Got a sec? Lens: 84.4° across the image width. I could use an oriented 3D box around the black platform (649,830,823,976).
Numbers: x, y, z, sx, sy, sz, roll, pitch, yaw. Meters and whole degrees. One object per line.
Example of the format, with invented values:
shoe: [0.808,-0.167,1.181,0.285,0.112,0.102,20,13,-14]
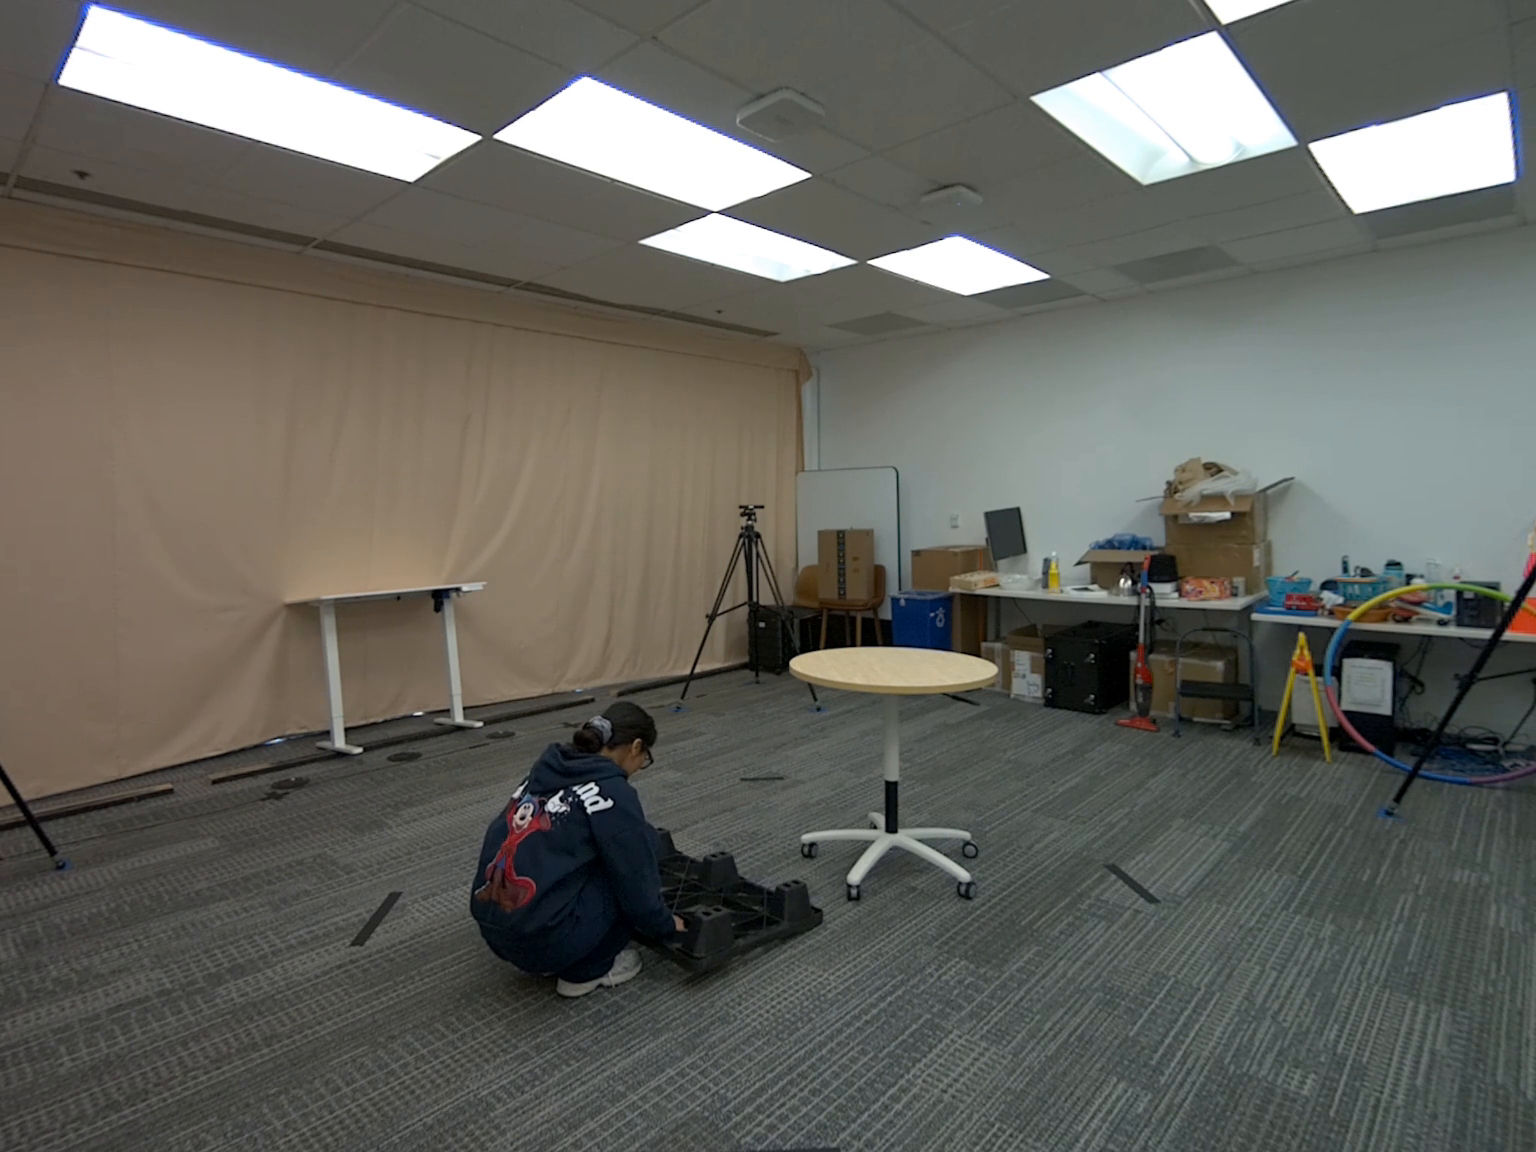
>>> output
black platform: [-0.294,1.068,2.872,0.832,0.143,0.585,4,1,43]
